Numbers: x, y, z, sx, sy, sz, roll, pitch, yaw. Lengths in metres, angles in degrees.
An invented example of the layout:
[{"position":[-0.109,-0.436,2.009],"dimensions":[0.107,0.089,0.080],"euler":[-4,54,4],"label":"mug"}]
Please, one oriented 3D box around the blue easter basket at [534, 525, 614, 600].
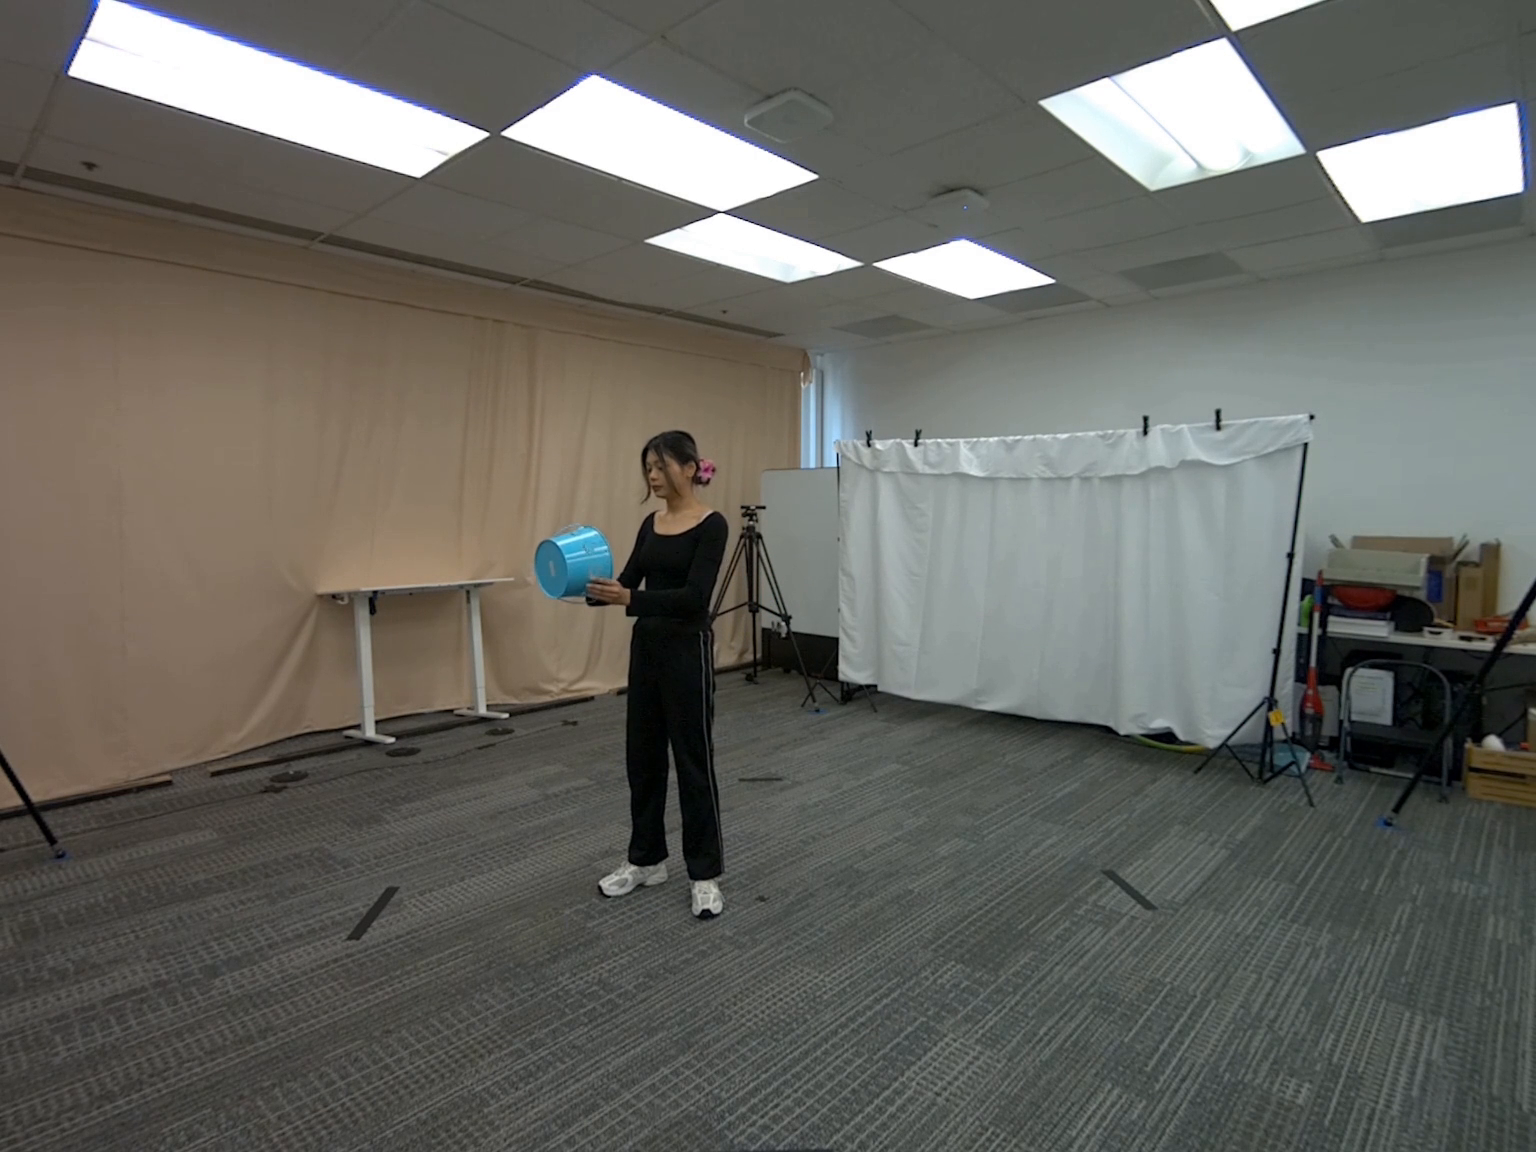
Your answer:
[{"position":[-0.610,-0.039,2.622],"dimensions":[0.252,0.242,0.151],"euler":[3,10,41],"label":"blue easter basket"}]
